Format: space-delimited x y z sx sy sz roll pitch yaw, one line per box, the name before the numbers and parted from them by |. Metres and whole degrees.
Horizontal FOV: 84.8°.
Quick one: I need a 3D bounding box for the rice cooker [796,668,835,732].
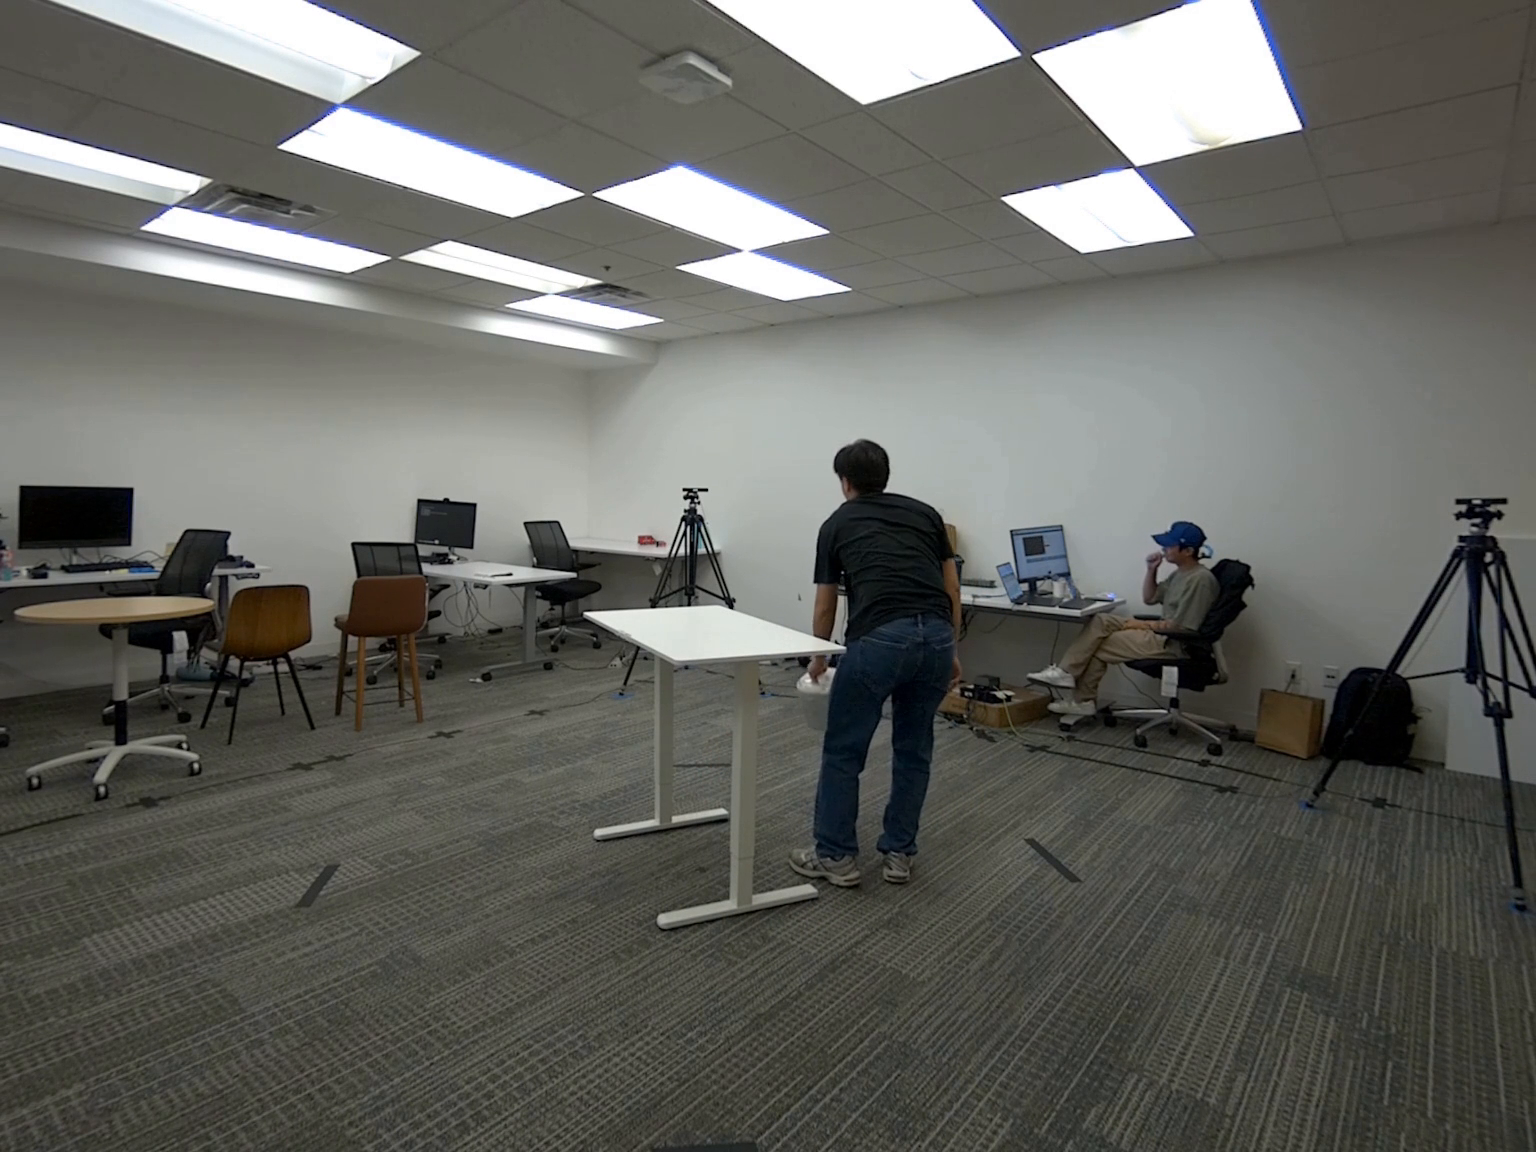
rice cooker | 0.218 0.498 3.480 0.218 0.229 0.224 -12 16 0
